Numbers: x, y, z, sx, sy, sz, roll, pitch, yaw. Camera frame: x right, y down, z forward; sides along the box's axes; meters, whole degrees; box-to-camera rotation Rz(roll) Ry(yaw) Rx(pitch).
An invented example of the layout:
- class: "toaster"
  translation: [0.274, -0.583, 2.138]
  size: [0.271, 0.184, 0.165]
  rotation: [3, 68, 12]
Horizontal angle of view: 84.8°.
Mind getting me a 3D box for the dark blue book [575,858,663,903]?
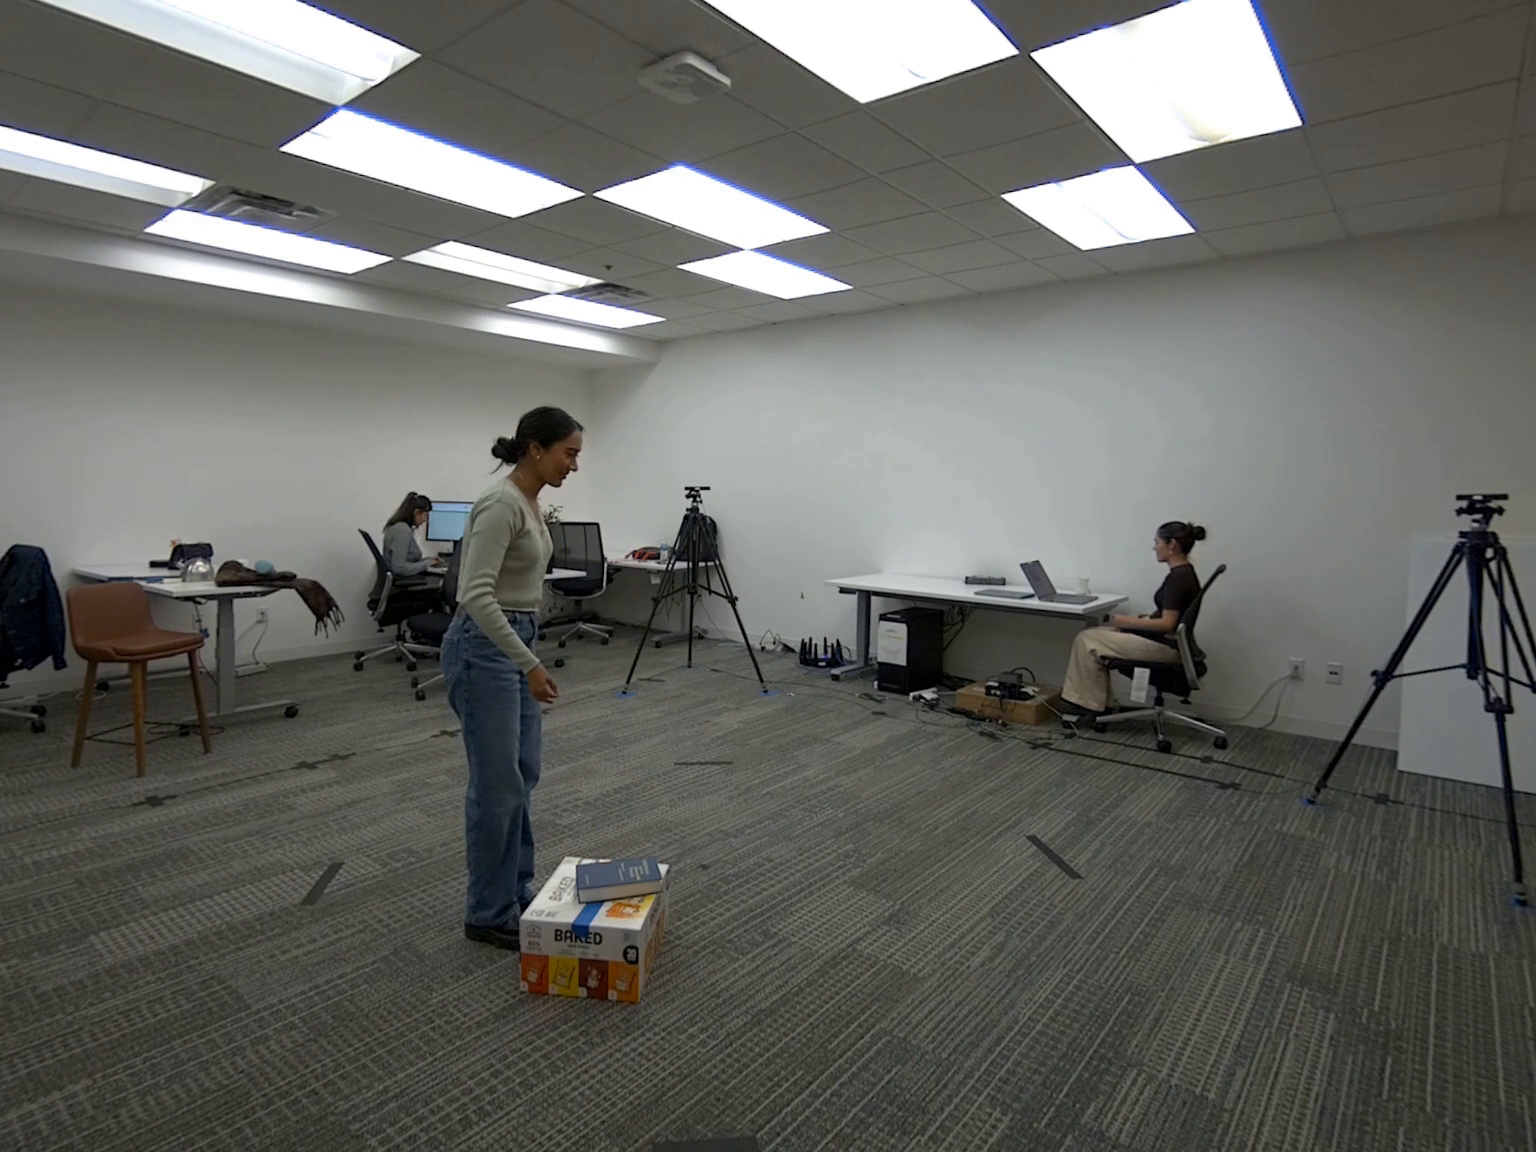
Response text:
- class: "dark blue book"
  translation: [-0.454, 0.902, 2.532]
  size: [0.242, 0.045, 0.167]
  rotation: [-2, 8, -14]
